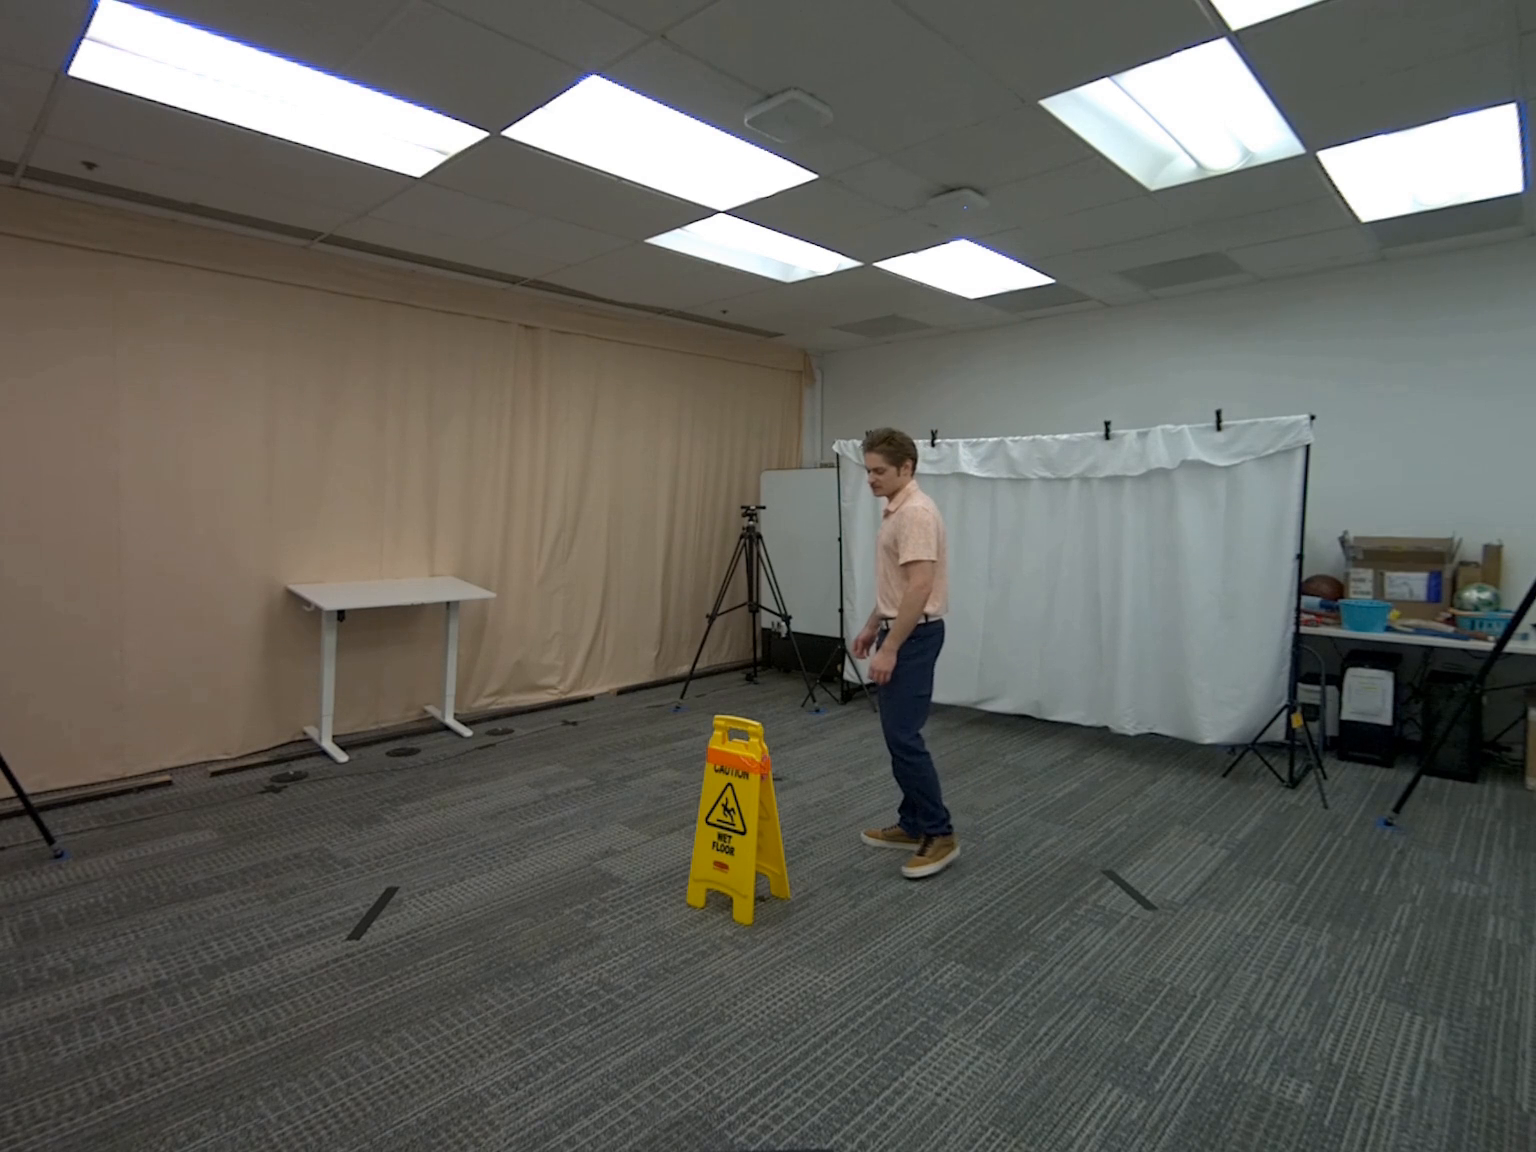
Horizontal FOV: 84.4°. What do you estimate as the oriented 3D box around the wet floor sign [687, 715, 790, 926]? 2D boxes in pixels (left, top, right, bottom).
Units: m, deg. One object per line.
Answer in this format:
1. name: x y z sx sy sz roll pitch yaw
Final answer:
1. wet floor sign: -0.099 0.821 2.953 0.291 0.645 0.281 3 4 36
